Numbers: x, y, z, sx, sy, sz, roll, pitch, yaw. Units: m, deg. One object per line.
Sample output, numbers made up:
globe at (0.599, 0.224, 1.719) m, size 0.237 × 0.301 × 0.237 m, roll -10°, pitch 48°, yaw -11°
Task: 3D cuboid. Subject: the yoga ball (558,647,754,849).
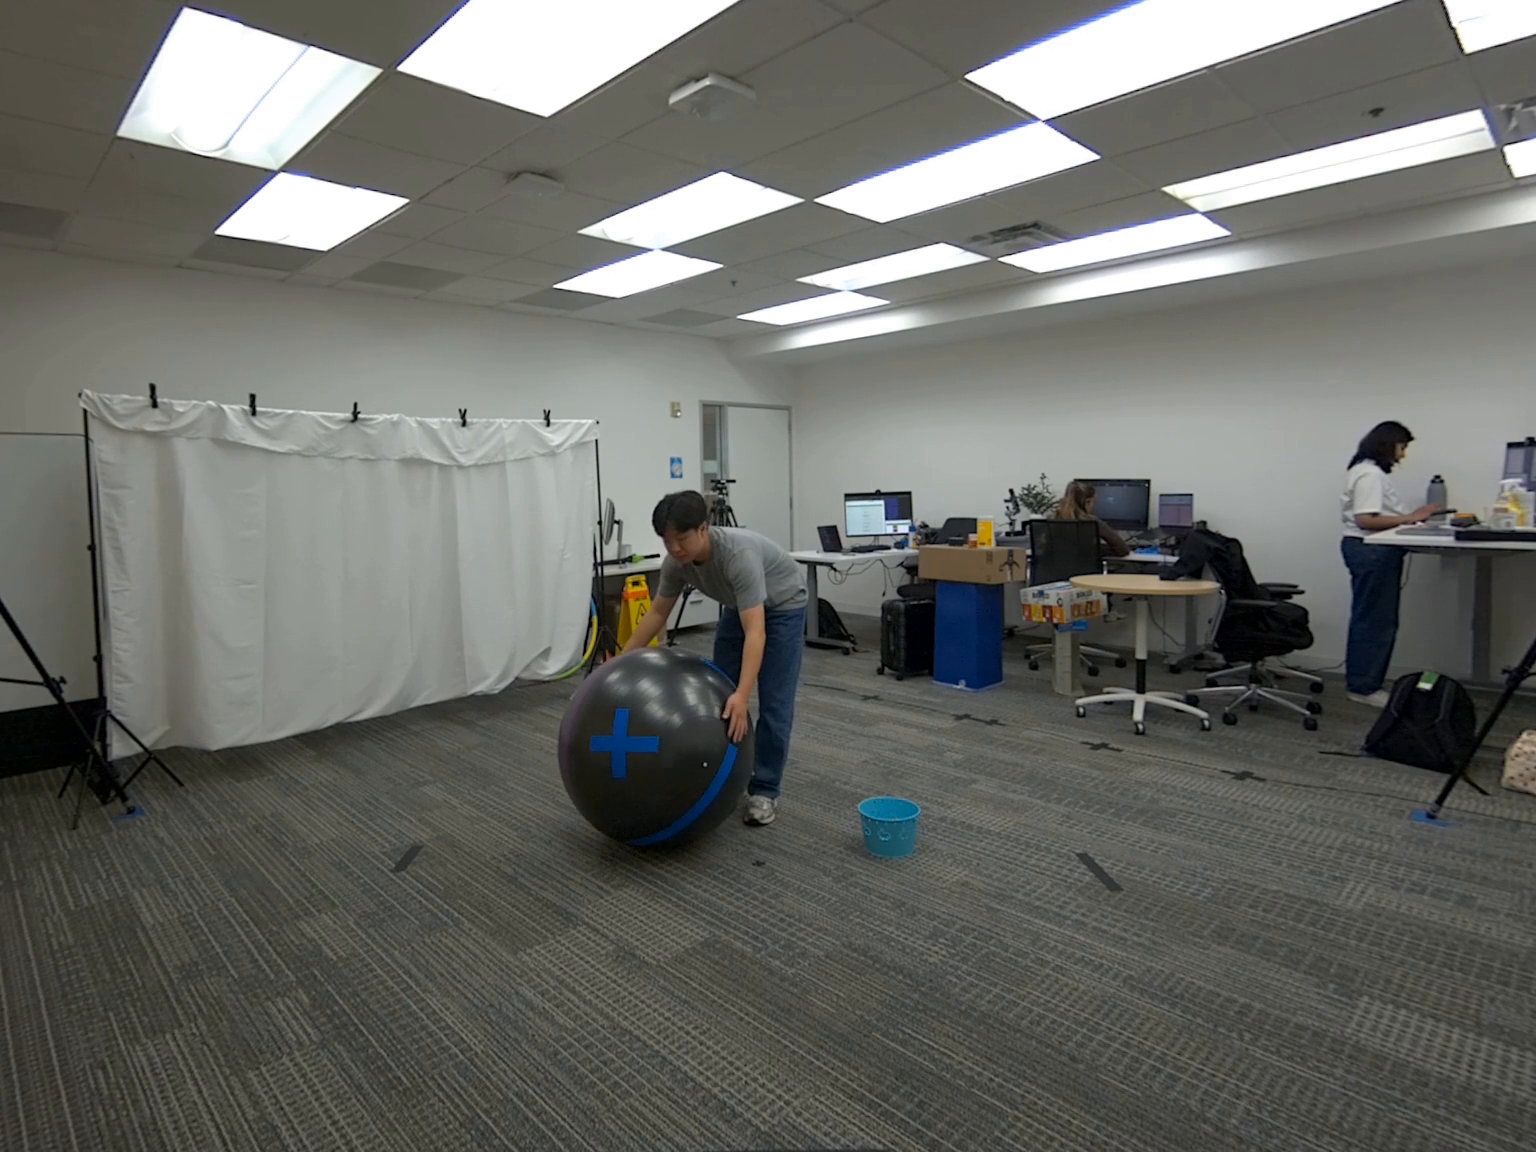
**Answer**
yoga ball at (-0.426, 0.663, 3.301) m, size 0.757 × 0.755 × 0.762 m, roll -1°, pitch 5°, yaw -2°
